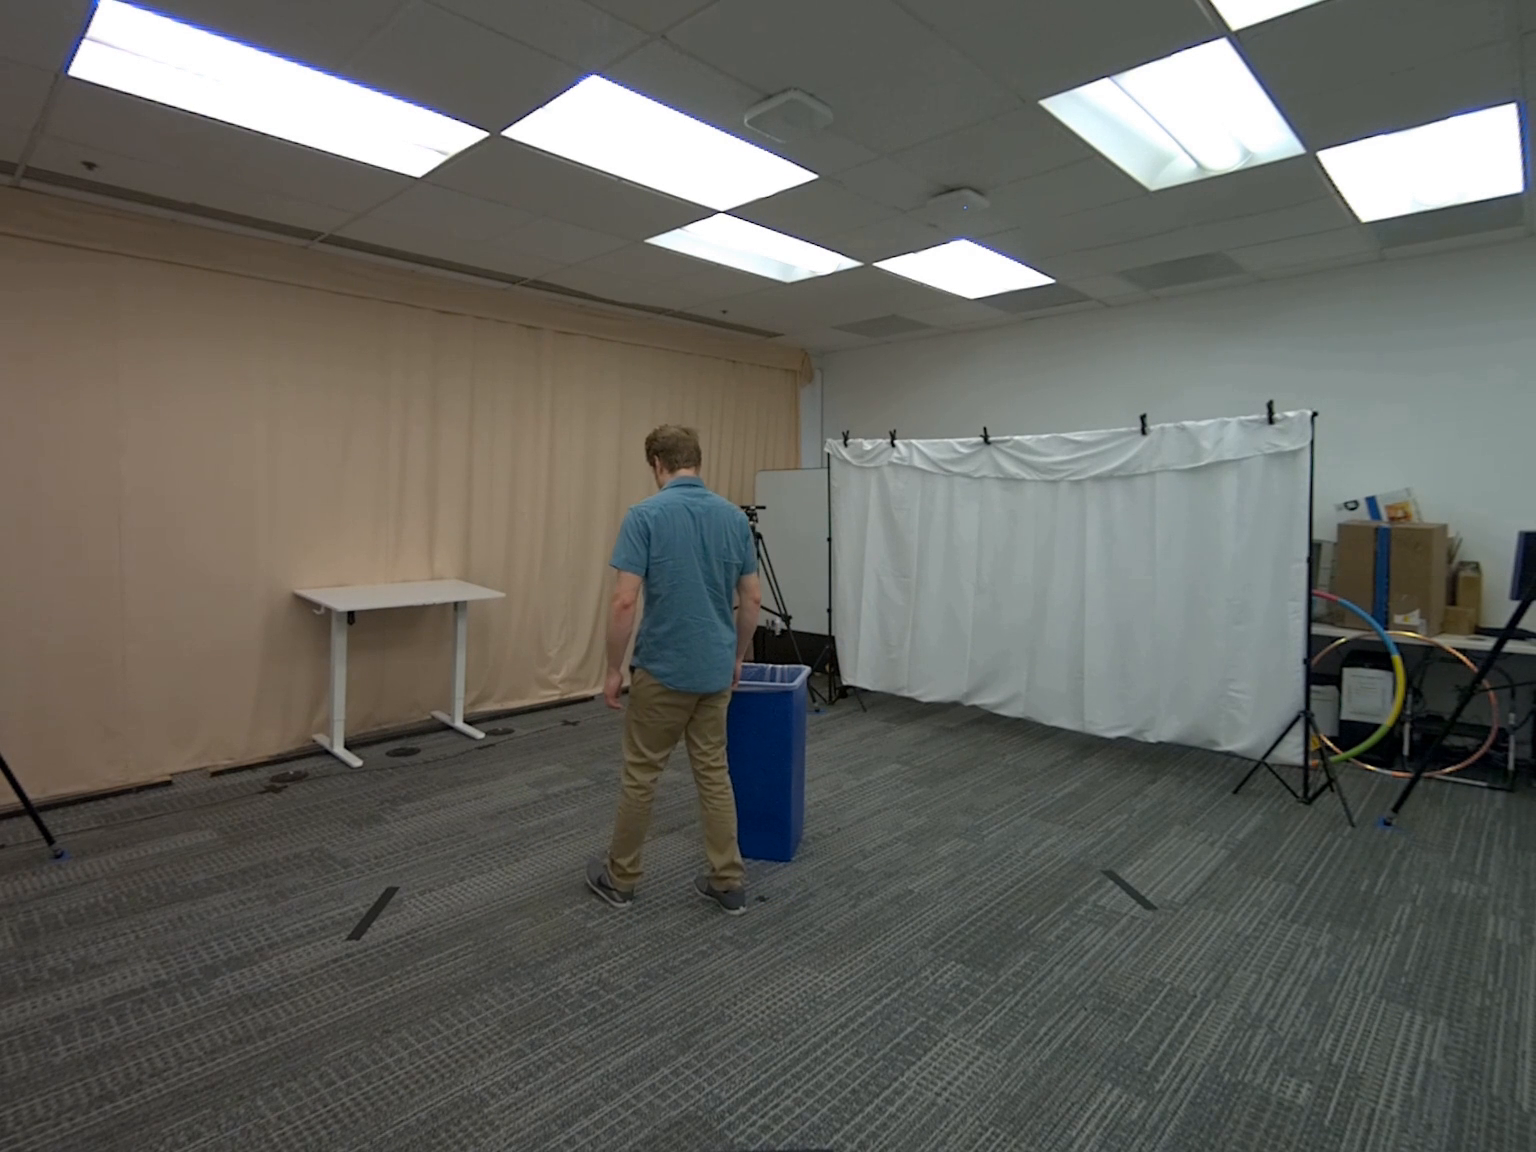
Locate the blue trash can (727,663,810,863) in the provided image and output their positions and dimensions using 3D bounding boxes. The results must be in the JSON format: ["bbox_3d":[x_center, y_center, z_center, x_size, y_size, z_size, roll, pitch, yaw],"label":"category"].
[{"bbox_3d":[-0.024,0.750,3.440,0.384,0.712,0.369,0,3,14],"label":"blue trash can"}]
